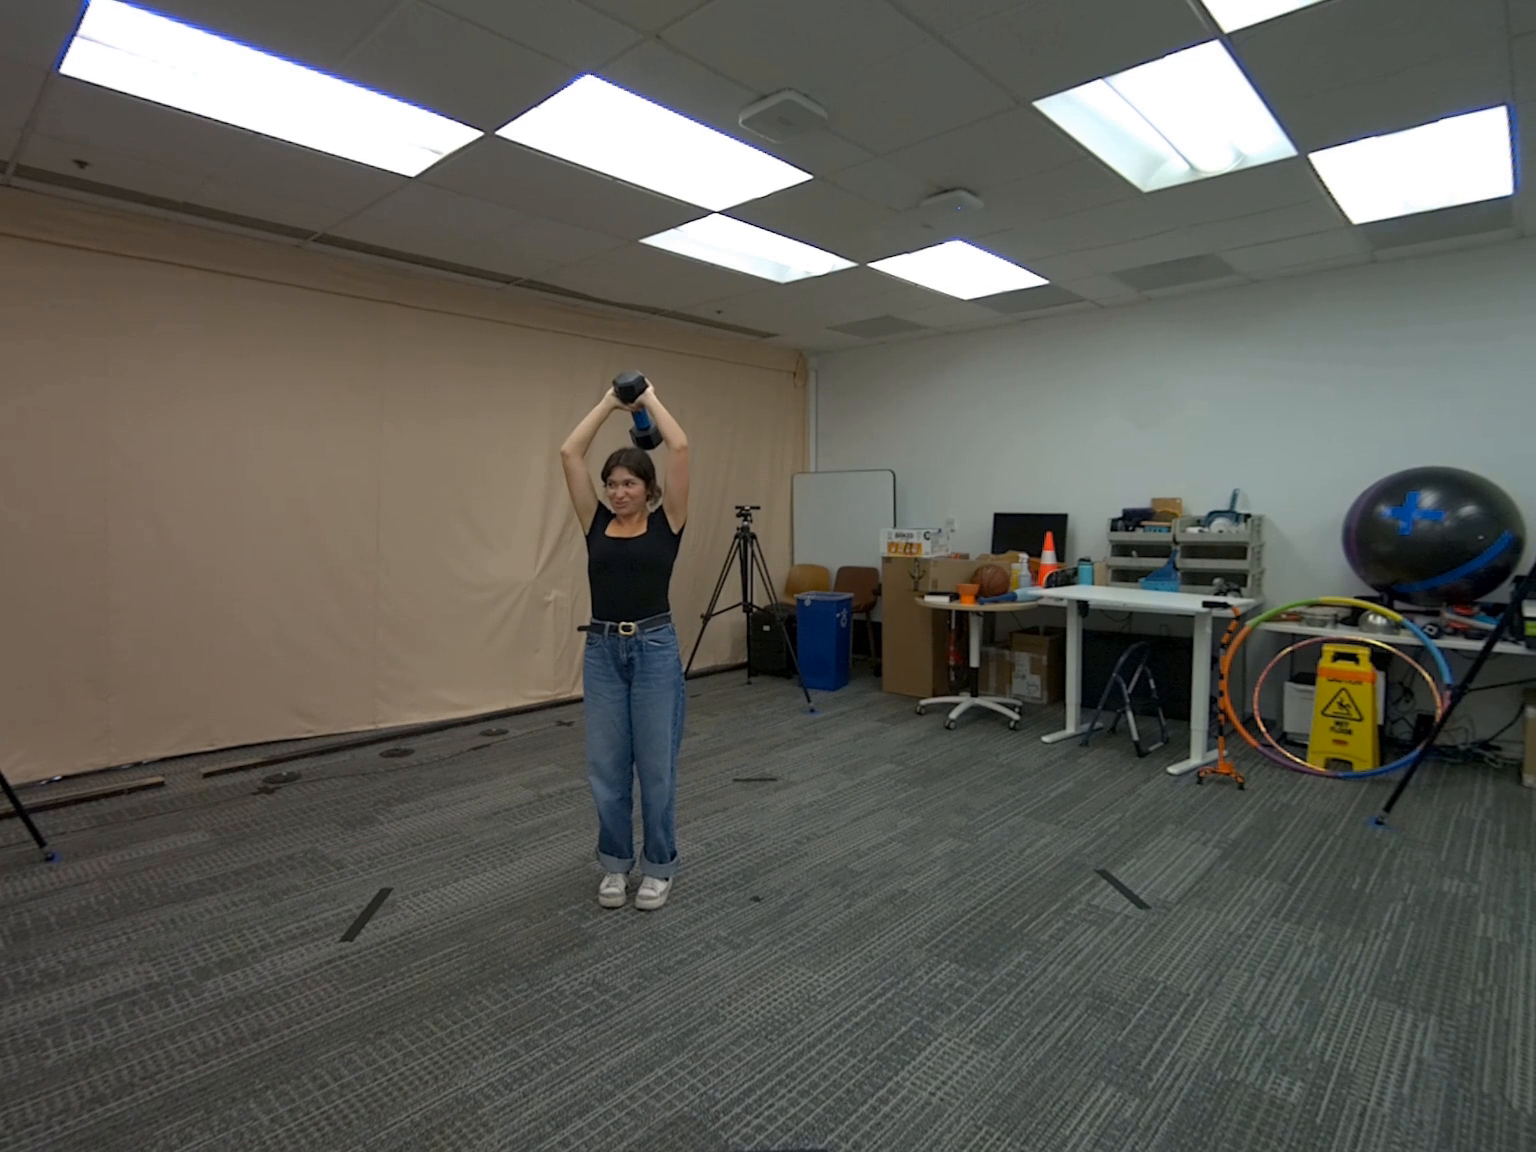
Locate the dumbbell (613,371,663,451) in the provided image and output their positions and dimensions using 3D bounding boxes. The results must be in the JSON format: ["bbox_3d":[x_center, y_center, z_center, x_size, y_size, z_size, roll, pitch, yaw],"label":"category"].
[{"bbox_3d":[-0.479,-0.598,3.106,0.112,0.286,0.122,15,49,34],"label":"dumbbell"}]
